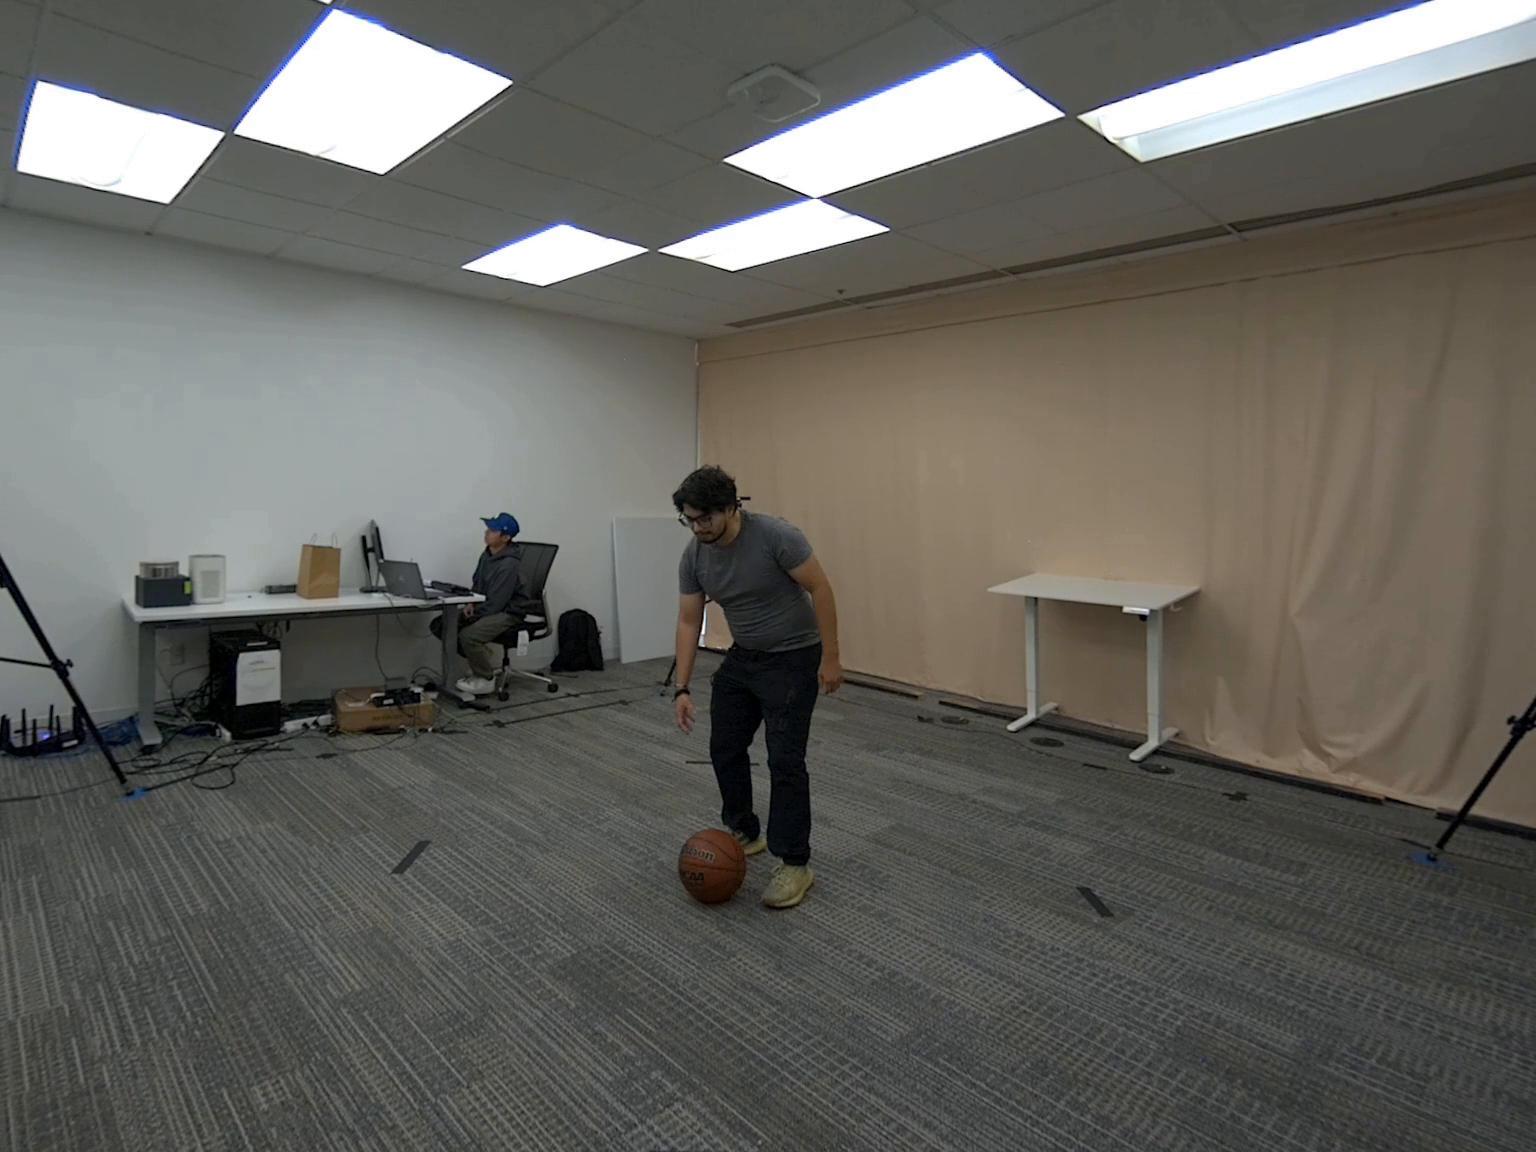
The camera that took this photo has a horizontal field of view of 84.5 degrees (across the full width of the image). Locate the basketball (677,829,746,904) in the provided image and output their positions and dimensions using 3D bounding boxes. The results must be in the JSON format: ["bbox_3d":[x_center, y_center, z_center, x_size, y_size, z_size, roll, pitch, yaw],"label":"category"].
[{"bbox_3d":[-0.199,1.008,2.918,0.236,0.235,0.237,1,4,-1],"label":"basketball"}]
